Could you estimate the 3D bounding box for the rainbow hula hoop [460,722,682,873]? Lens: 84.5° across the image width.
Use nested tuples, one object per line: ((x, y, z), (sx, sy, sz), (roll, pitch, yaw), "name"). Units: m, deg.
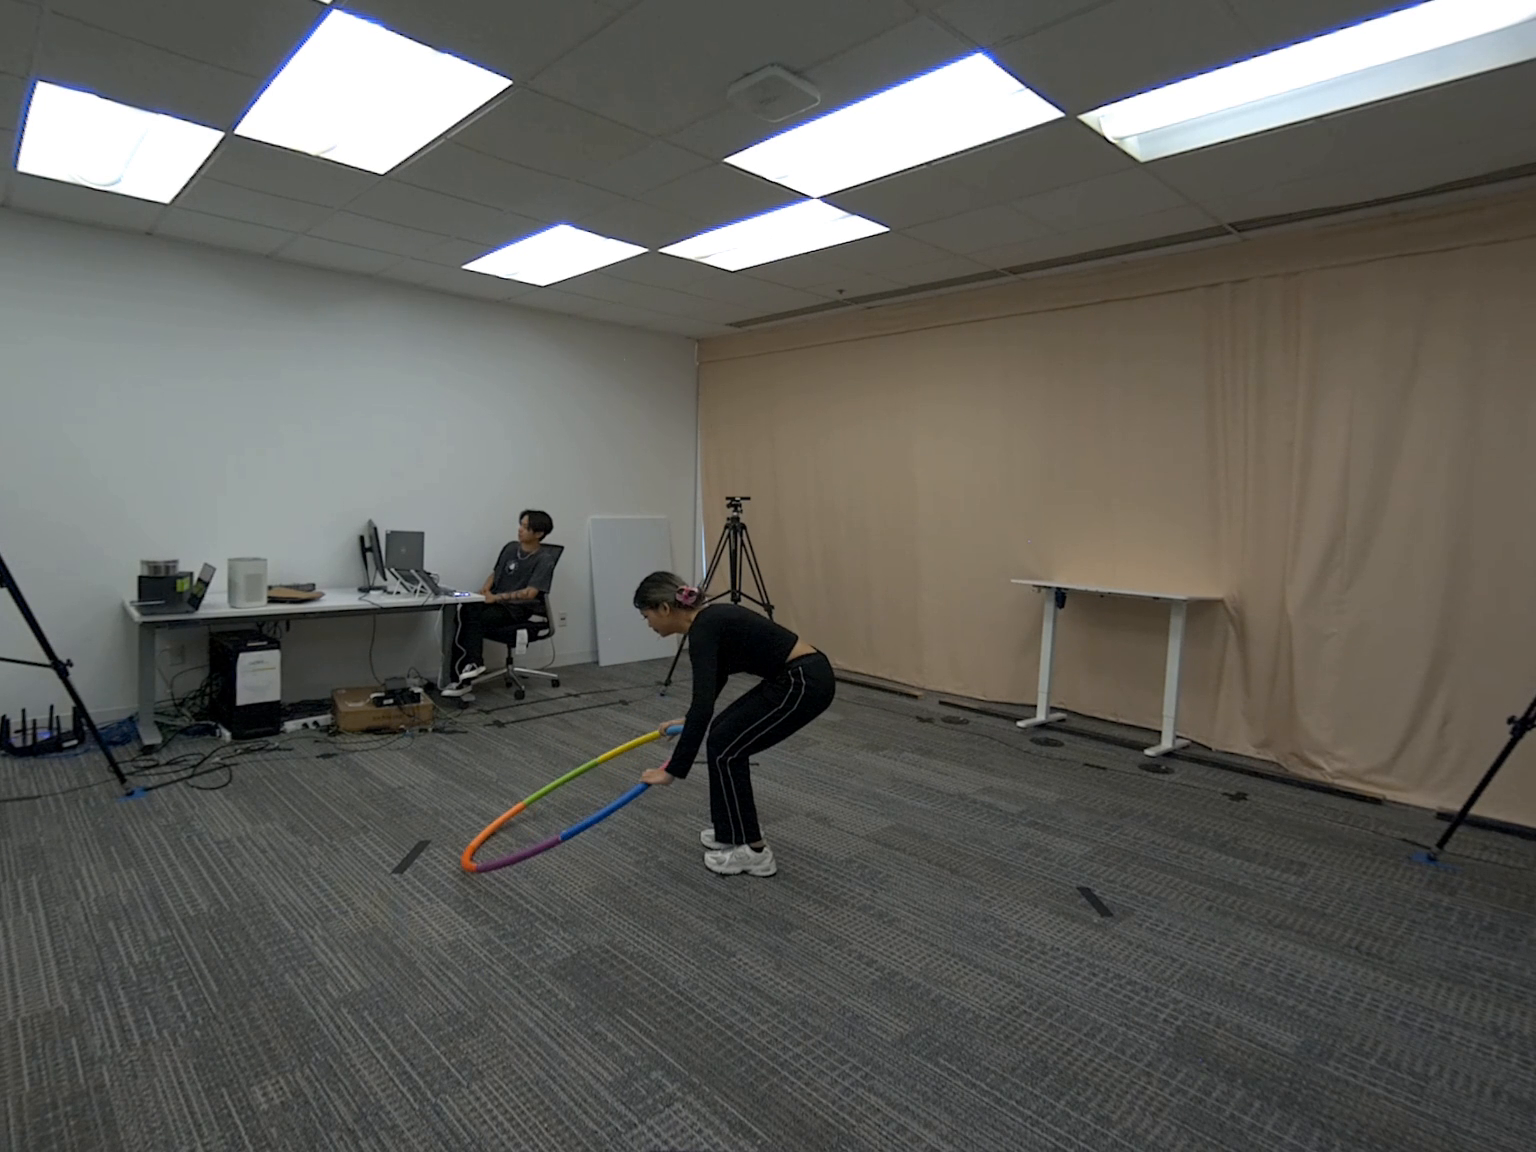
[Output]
((-0.729, 0.836, 3.245), (0.978, 0.035, 0.981), (-27, 5, 0), "rainbow hula hoop")
